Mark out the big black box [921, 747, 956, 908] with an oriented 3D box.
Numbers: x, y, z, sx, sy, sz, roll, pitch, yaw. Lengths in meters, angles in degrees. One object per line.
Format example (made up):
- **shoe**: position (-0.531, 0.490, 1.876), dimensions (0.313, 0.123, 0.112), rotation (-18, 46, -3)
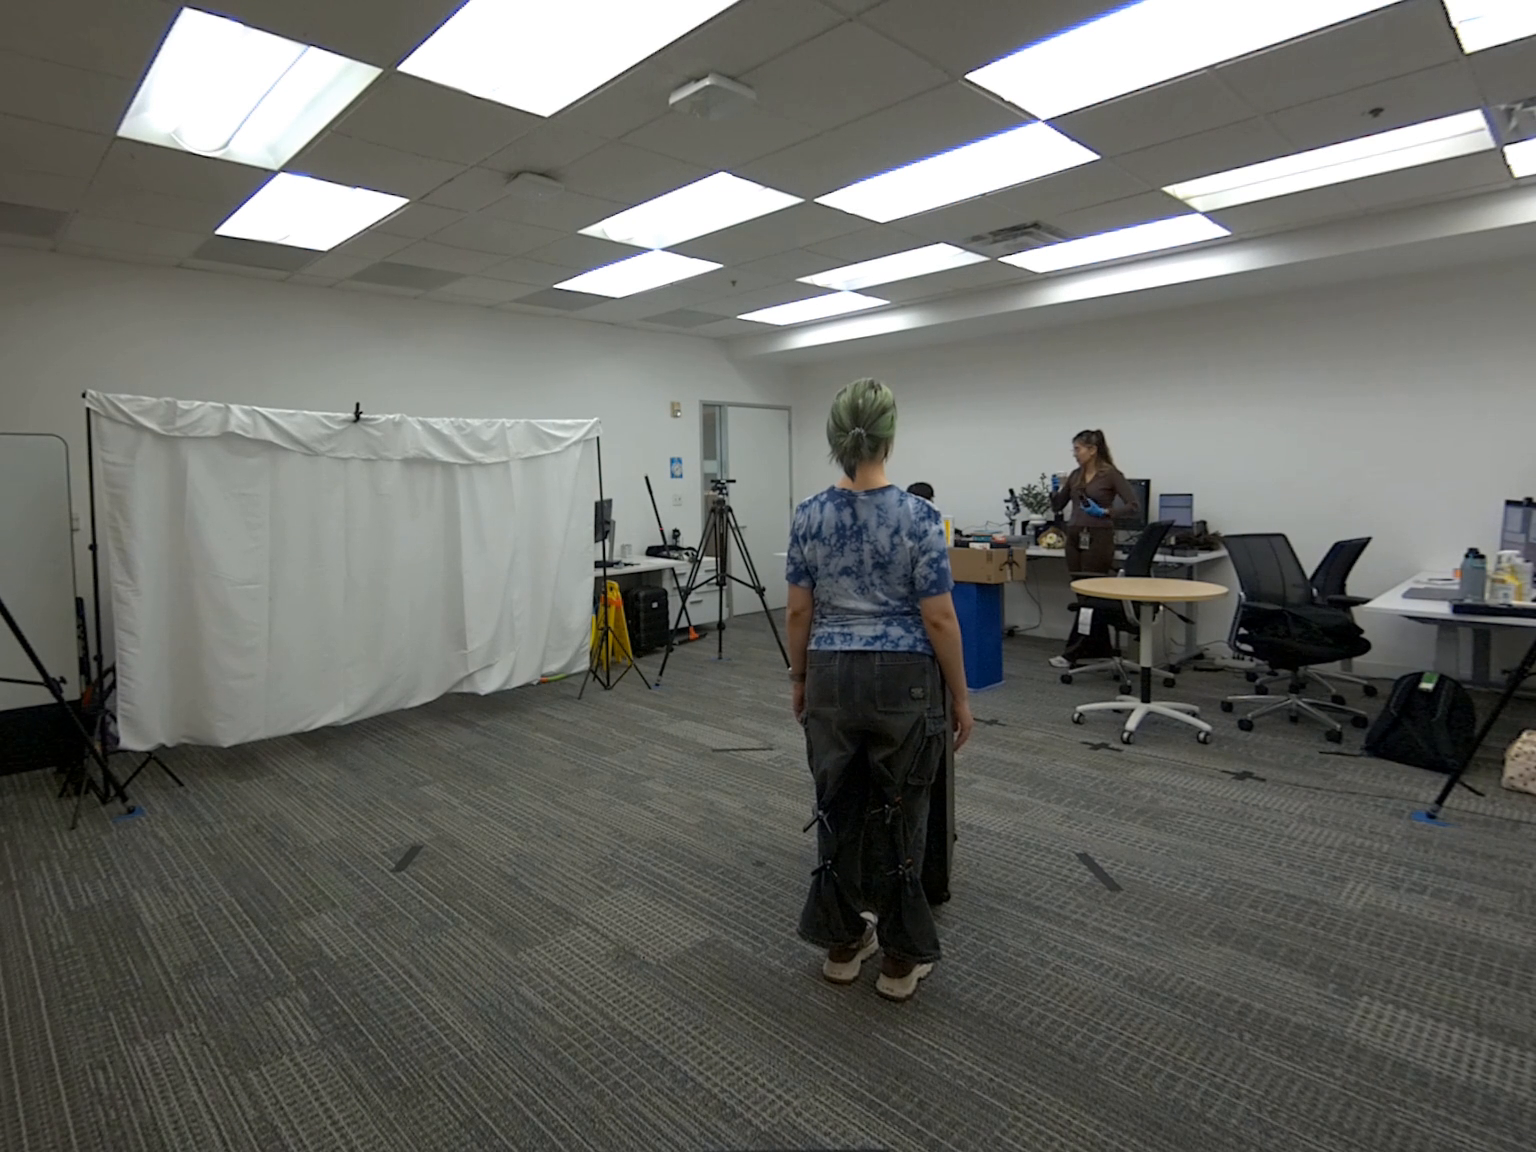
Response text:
- **big black box**: position (0.442, 0.639, 2.918), dimensions (0.403, 0.858, 0.515), rotation (-1, 4, 17)
